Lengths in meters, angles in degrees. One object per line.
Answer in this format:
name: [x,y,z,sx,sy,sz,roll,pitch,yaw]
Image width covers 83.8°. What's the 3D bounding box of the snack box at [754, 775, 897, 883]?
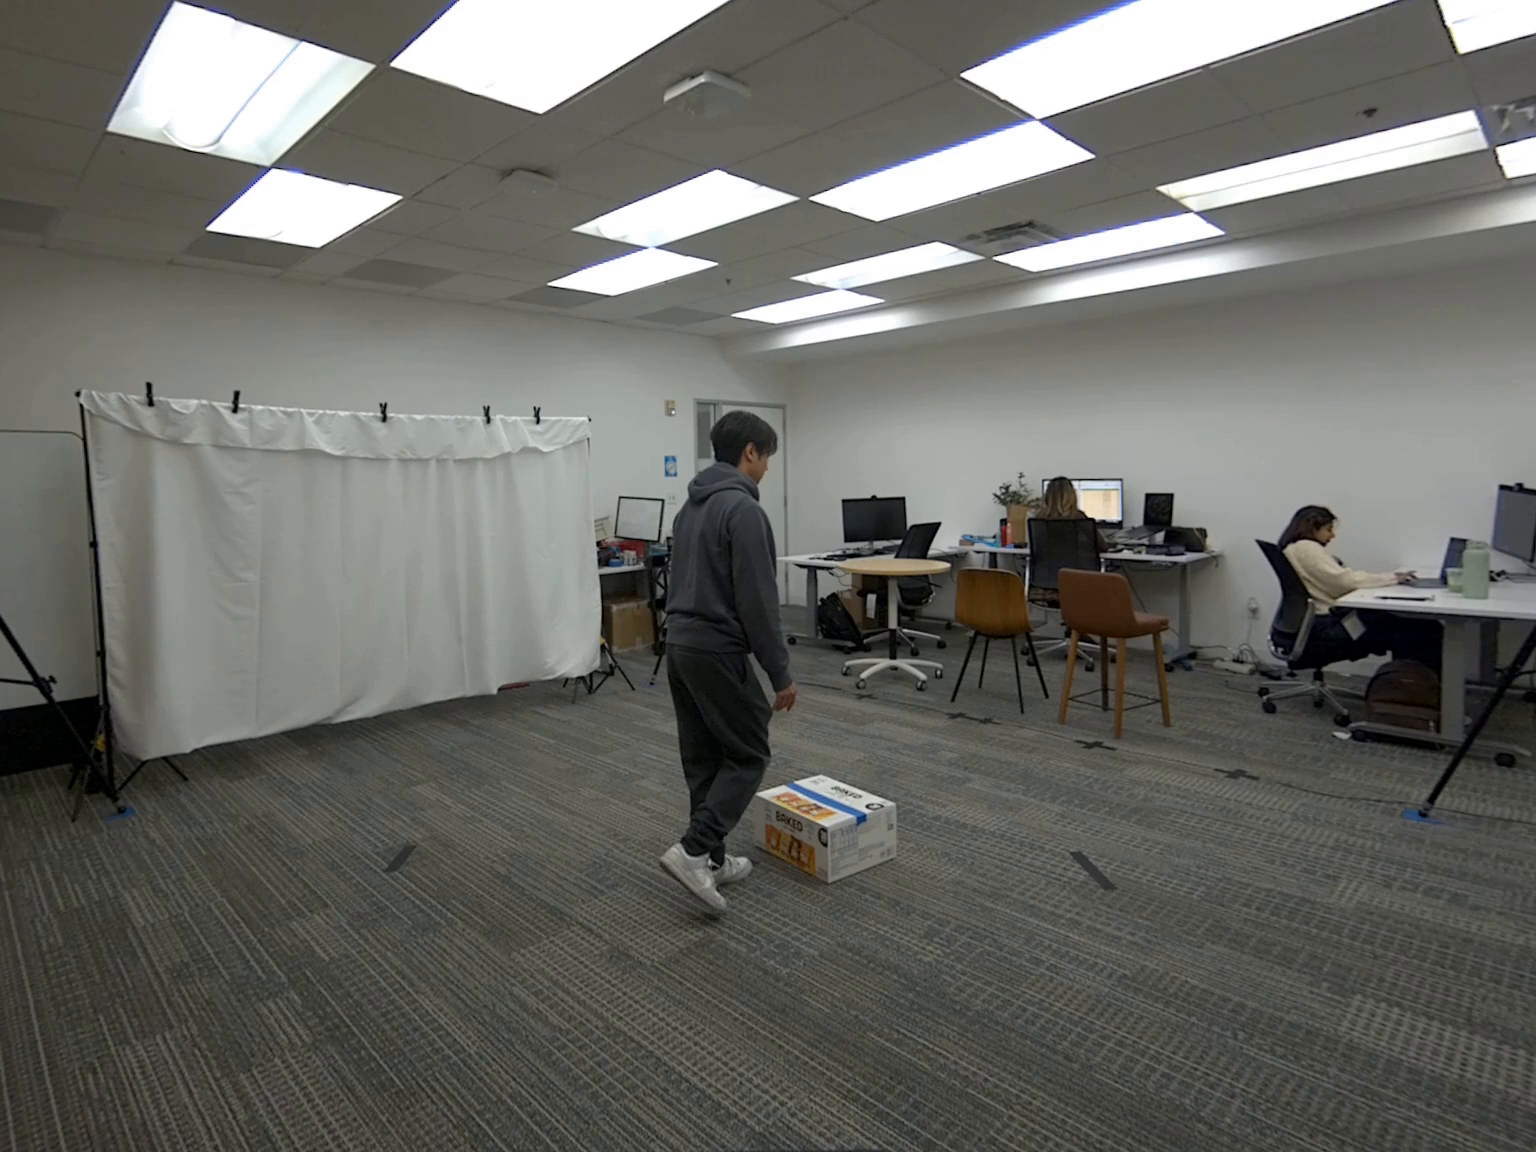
snack box: [0.213,0.929,3.179,0.332,0.205,0.417,-6,7,-37]
